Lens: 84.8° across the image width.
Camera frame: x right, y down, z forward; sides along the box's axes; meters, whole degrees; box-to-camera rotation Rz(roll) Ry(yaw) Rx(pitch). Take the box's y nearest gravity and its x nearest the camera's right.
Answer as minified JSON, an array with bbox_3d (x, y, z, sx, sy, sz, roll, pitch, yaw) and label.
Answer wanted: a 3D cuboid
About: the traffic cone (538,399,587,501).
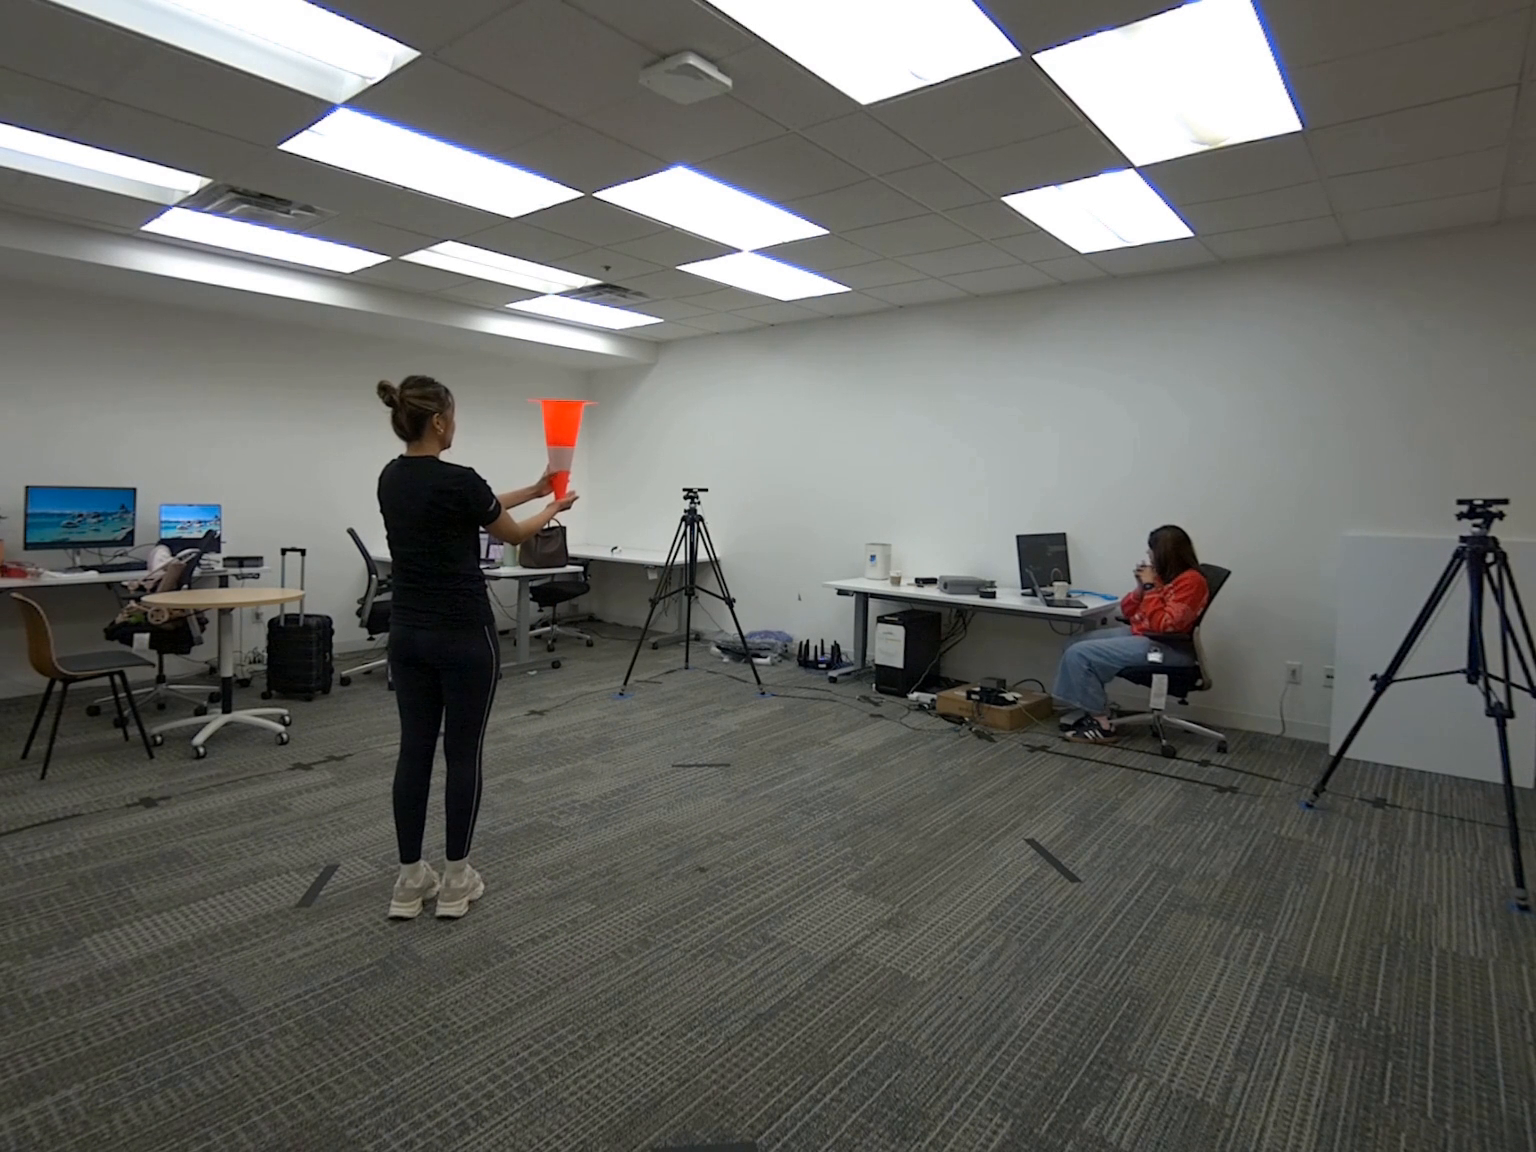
[{"bbox_3d":[-0.794,-0.464,3.176,0.210,0.382,0.199,5,5,32],"label":"traffic cone"}]
